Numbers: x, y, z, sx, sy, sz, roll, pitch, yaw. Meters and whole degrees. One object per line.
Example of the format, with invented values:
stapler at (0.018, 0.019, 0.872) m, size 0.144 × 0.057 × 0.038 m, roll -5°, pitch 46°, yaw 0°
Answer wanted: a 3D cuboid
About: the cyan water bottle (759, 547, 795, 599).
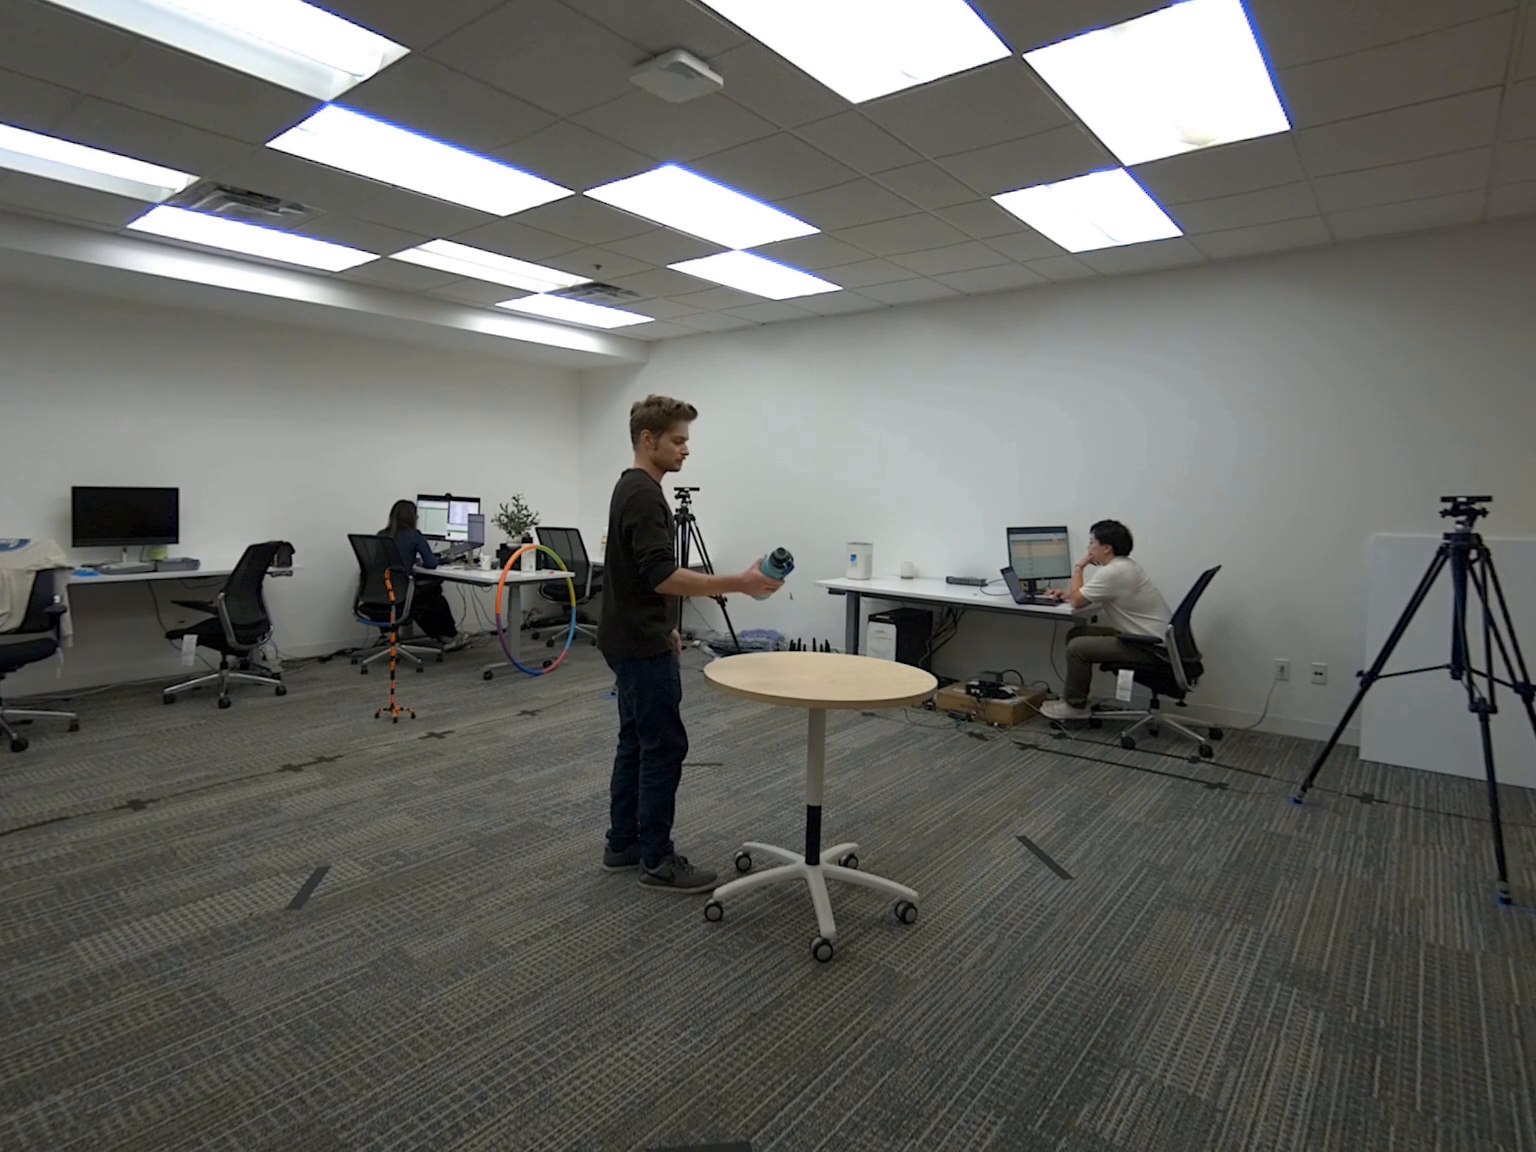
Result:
cyan water bottle at (-0.001, -0.008, 2.859) m, size 0.090 × 0.094 × 0.282 m, roll 0°, pitch -23°, yaw -19°
